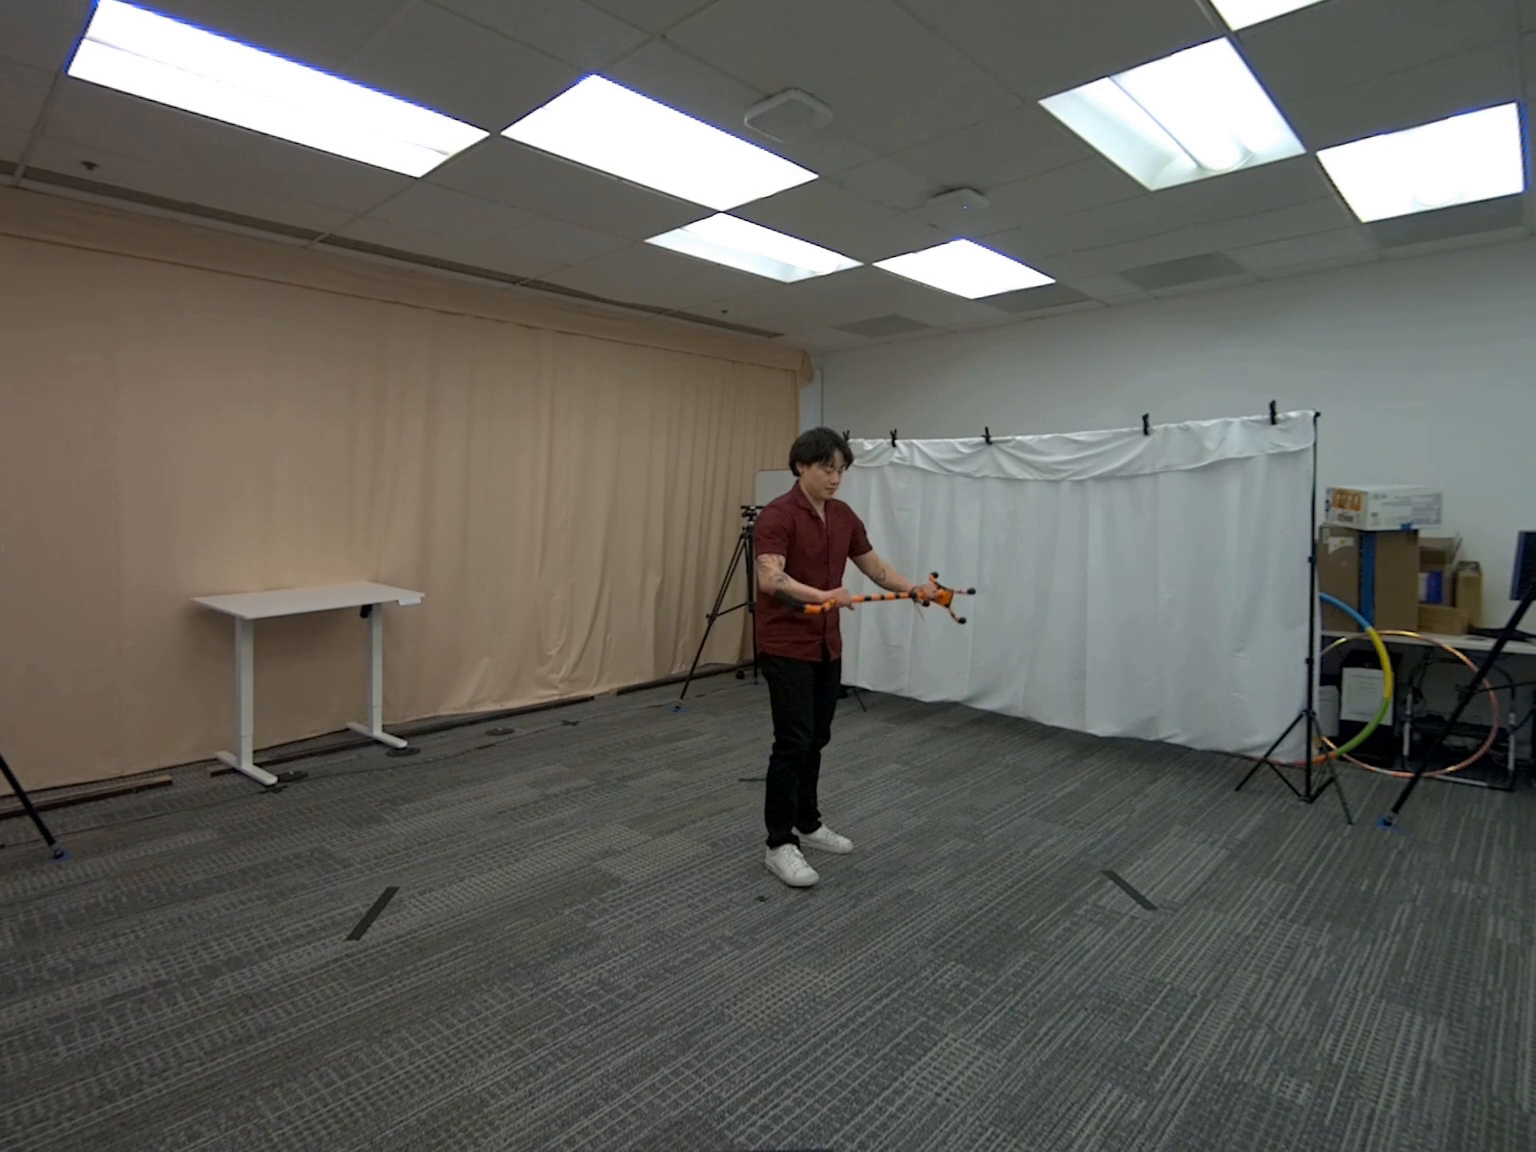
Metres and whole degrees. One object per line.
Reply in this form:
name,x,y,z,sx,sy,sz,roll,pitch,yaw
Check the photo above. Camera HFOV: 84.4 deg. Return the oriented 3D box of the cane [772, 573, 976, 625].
cane,0.393,0.095,3.033,0.879,0.151,0.214,-1,21,-43
